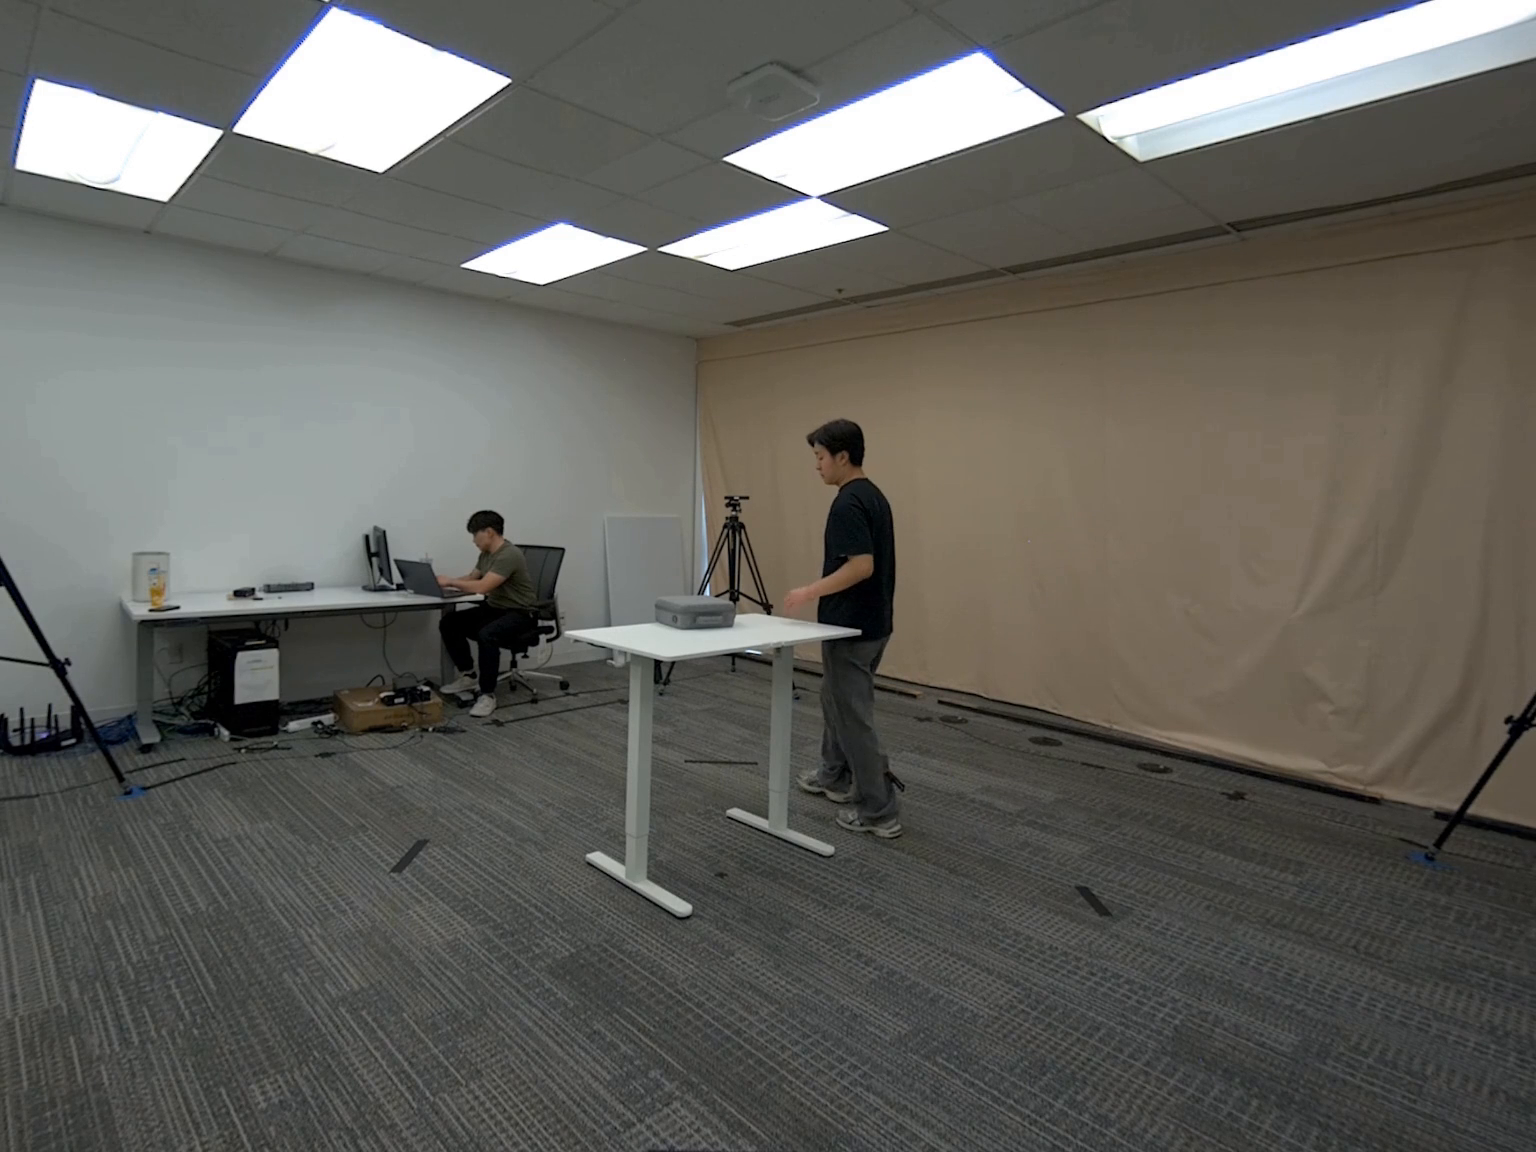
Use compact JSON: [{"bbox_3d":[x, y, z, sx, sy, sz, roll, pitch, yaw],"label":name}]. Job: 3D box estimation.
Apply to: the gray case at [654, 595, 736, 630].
[{"bbox_3d":[-0.296,0.142,3.358,0.251,0.104,0.267,0,6,-32],"label":"gray case"}]
